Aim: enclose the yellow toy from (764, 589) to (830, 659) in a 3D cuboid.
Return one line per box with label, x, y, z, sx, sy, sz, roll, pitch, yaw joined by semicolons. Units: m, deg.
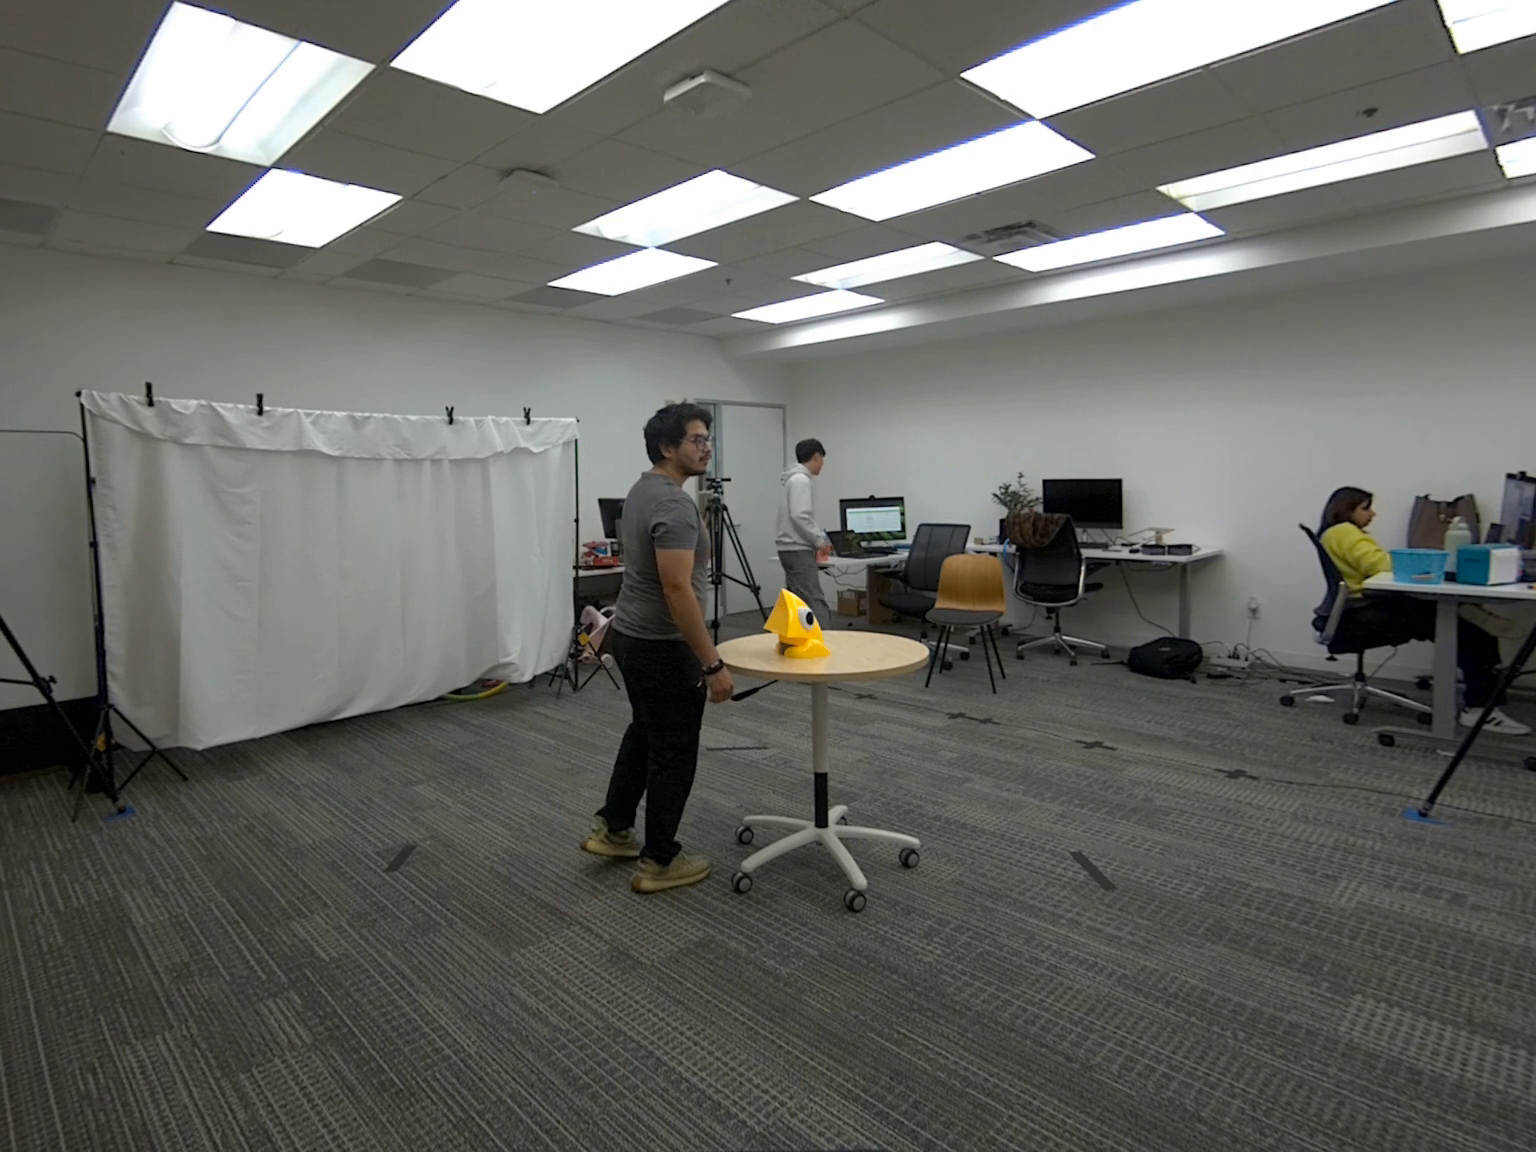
yellow toy;0.103;0.156;2.988;0.189;0.230;0.209;-4;5;-22
